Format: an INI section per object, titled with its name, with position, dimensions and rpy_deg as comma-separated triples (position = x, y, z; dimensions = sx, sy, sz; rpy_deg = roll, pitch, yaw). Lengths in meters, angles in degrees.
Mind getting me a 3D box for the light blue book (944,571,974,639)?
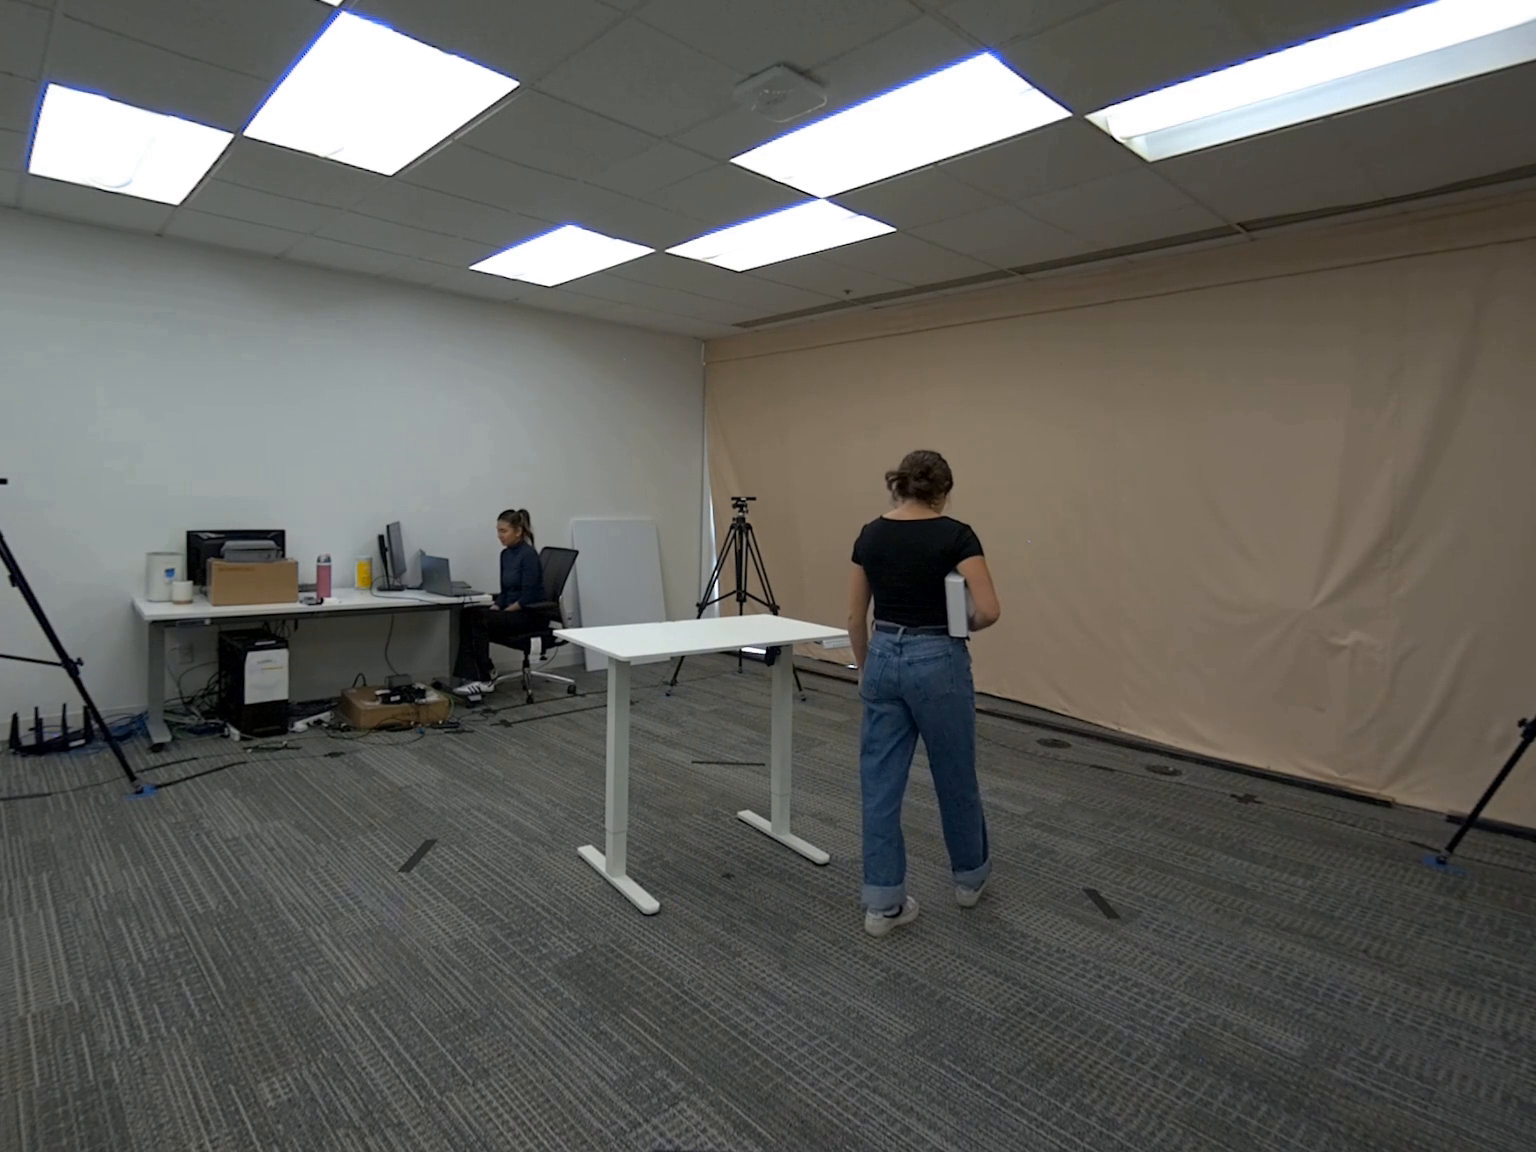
[light blue book]
position = 0.628, 0.059, 2.719
dimensions = 0.060, 0.189, 0.260
rpy_deg = -3, 16, 22
